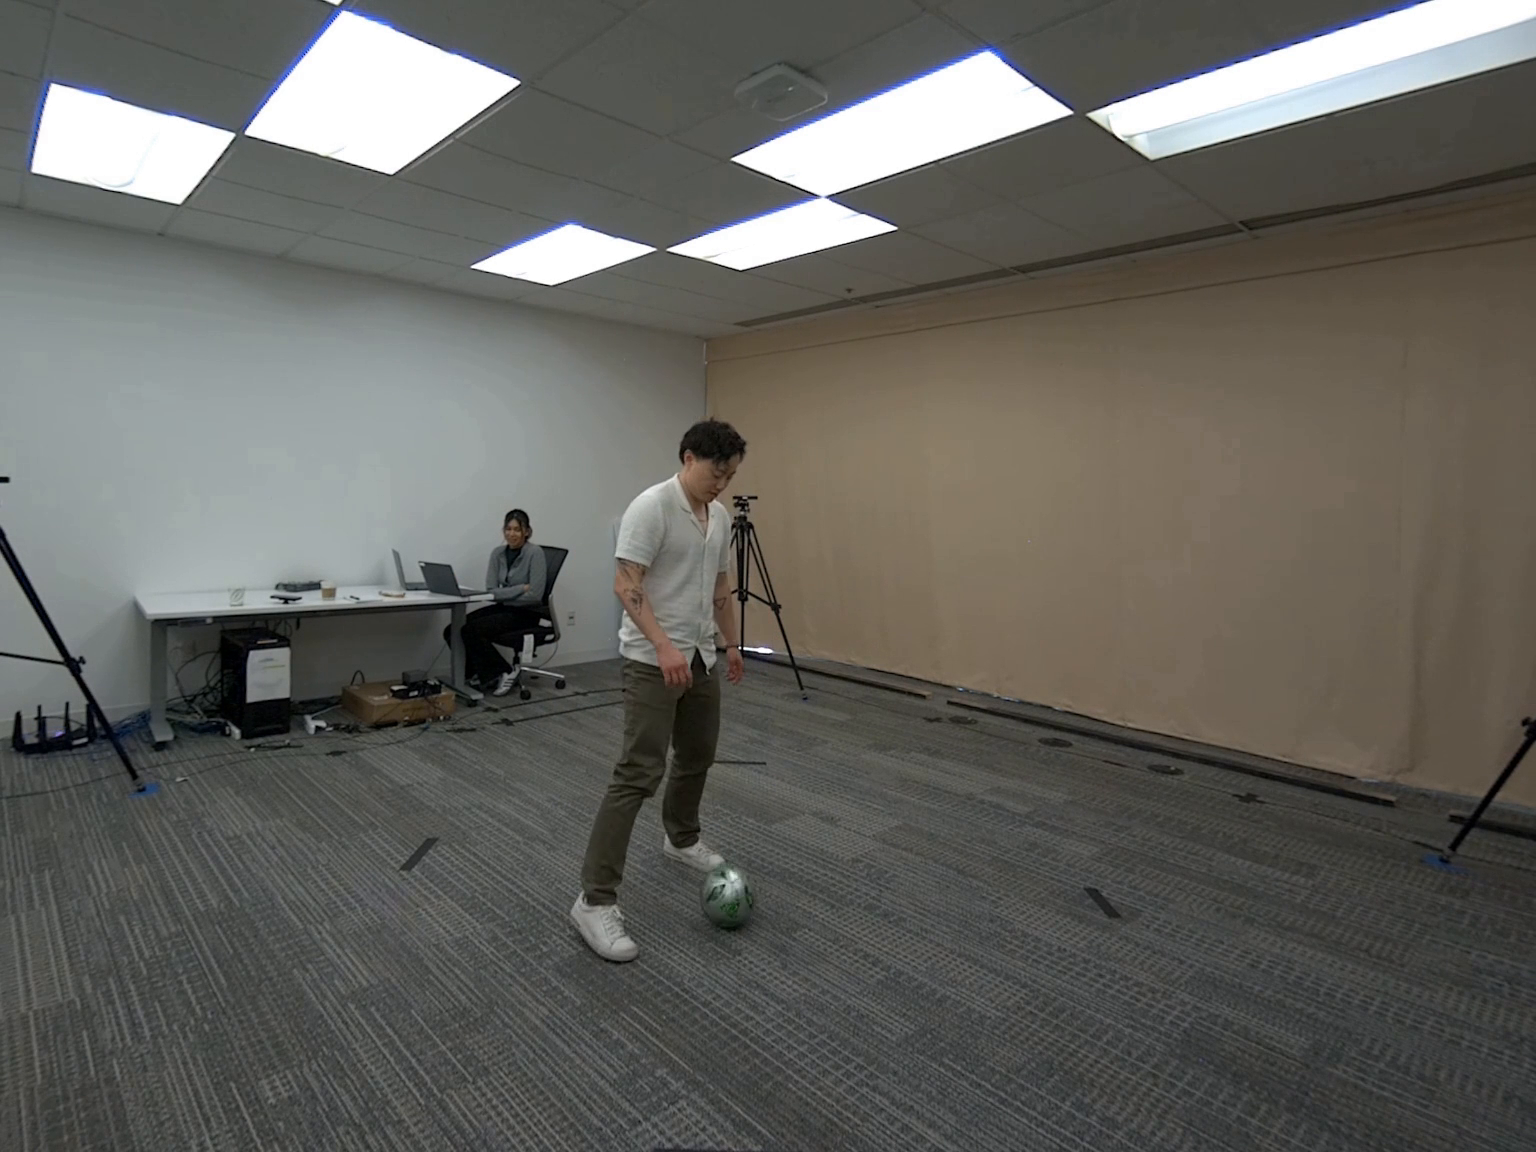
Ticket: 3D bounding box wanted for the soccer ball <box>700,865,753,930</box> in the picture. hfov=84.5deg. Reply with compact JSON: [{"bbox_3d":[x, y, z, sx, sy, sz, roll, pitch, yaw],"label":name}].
[{"bbox_3d":[-0.141,1.042,2.737,0.187,0.187,0.188,1,4,-1],"label":"soccer ball"}]
